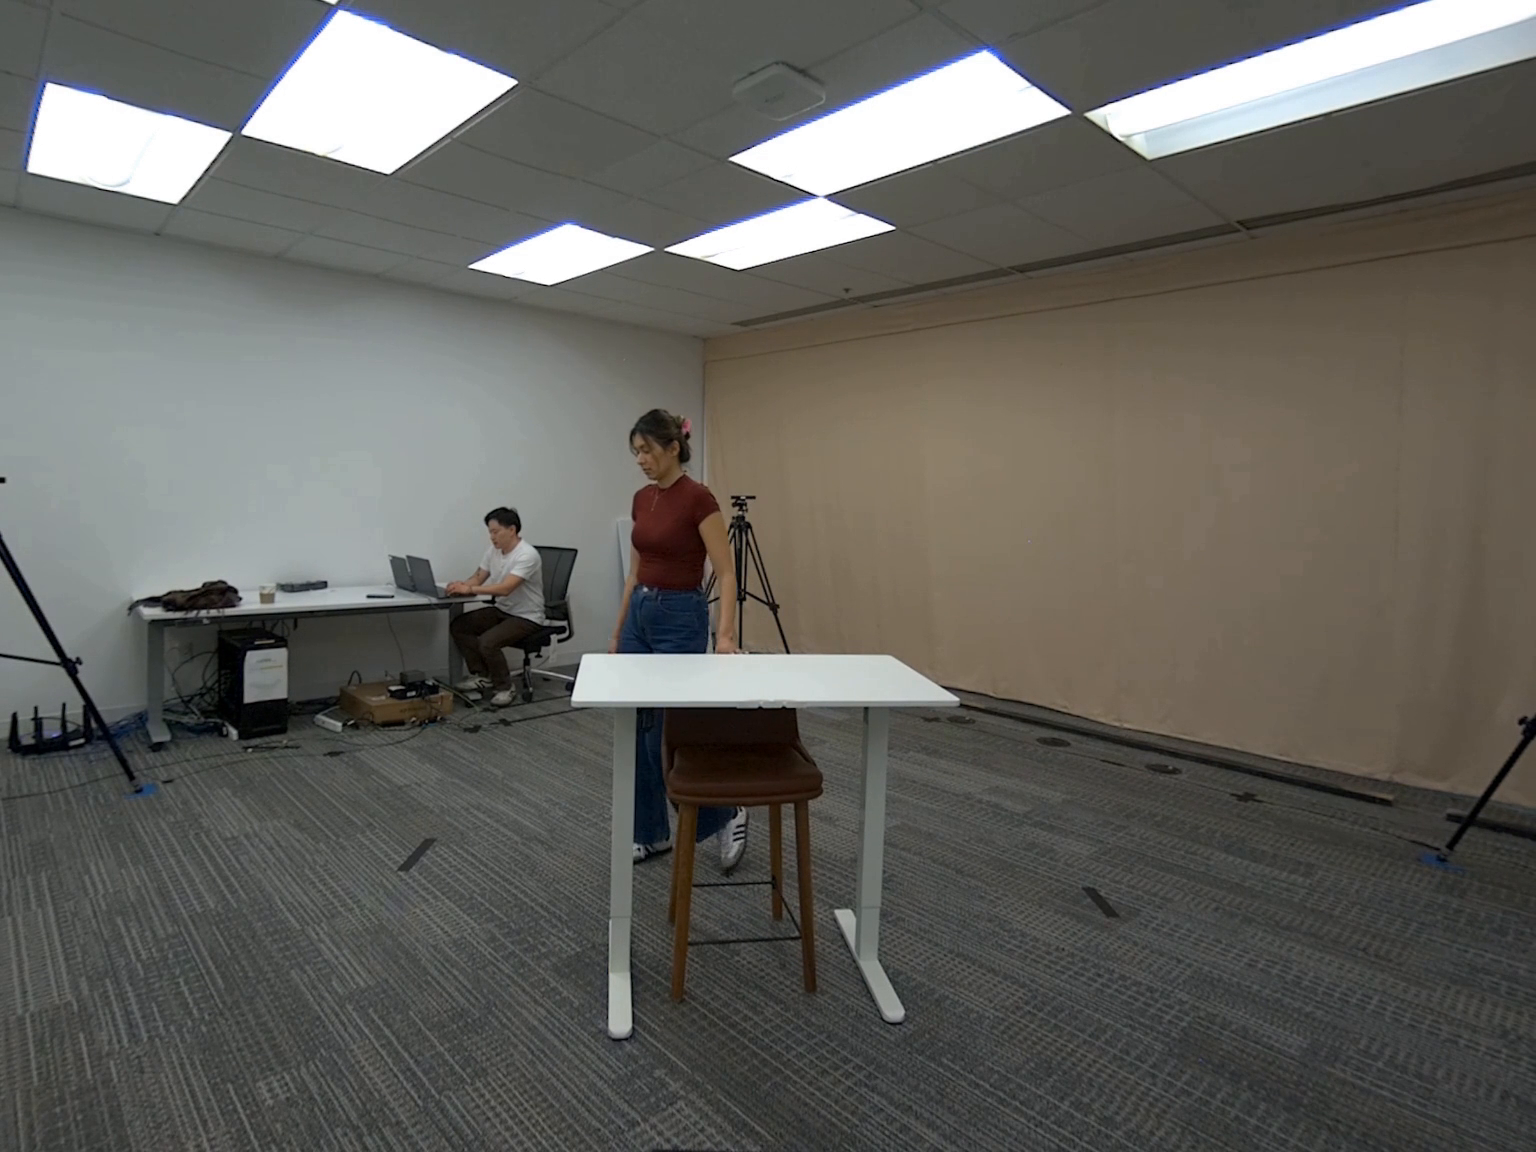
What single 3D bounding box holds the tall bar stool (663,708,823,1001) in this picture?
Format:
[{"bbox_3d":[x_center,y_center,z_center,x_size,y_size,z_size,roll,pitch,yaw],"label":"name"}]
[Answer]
[{"bbox_3d":[-0.108,0.725,2.548,0.454,0.889,0.470,-1,2,-6],"label":"tall bar stool"}]
